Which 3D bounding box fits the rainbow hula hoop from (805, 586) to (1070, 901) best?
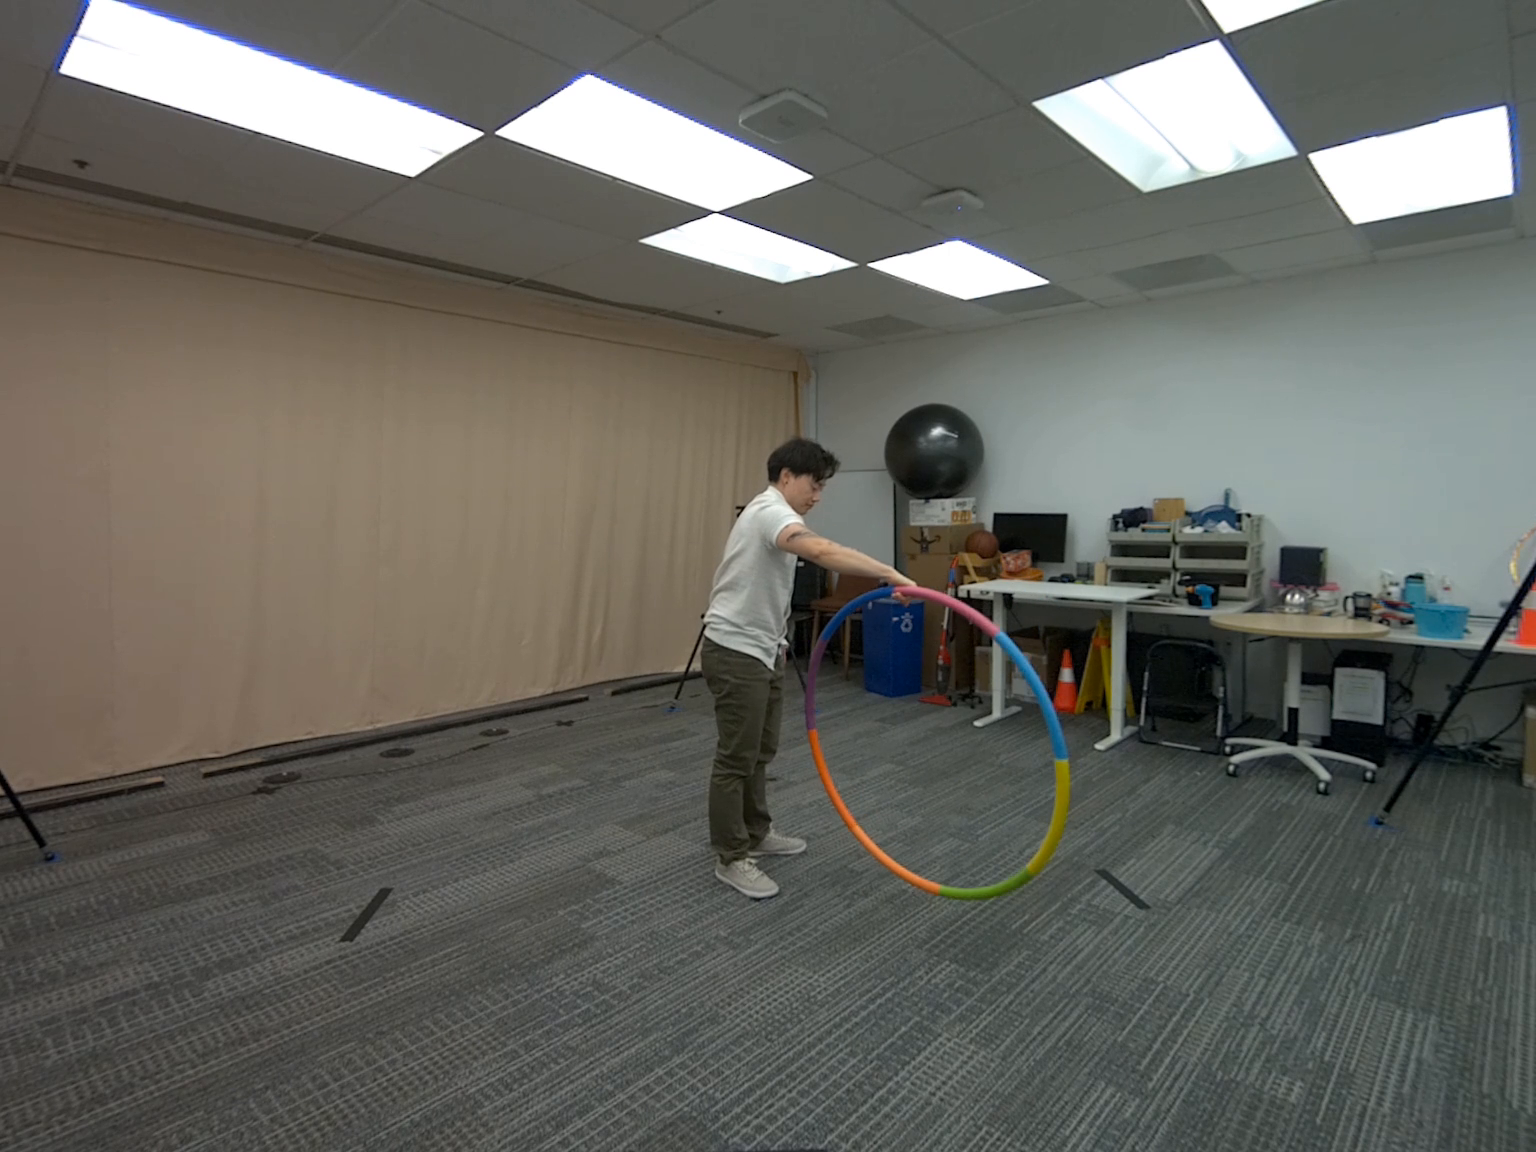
[{"bbox_3d":[0.480,0.525,2.659,0.034,0.974,1.011,-10,10,-41],"label":"rainbow hula hoop"}]
